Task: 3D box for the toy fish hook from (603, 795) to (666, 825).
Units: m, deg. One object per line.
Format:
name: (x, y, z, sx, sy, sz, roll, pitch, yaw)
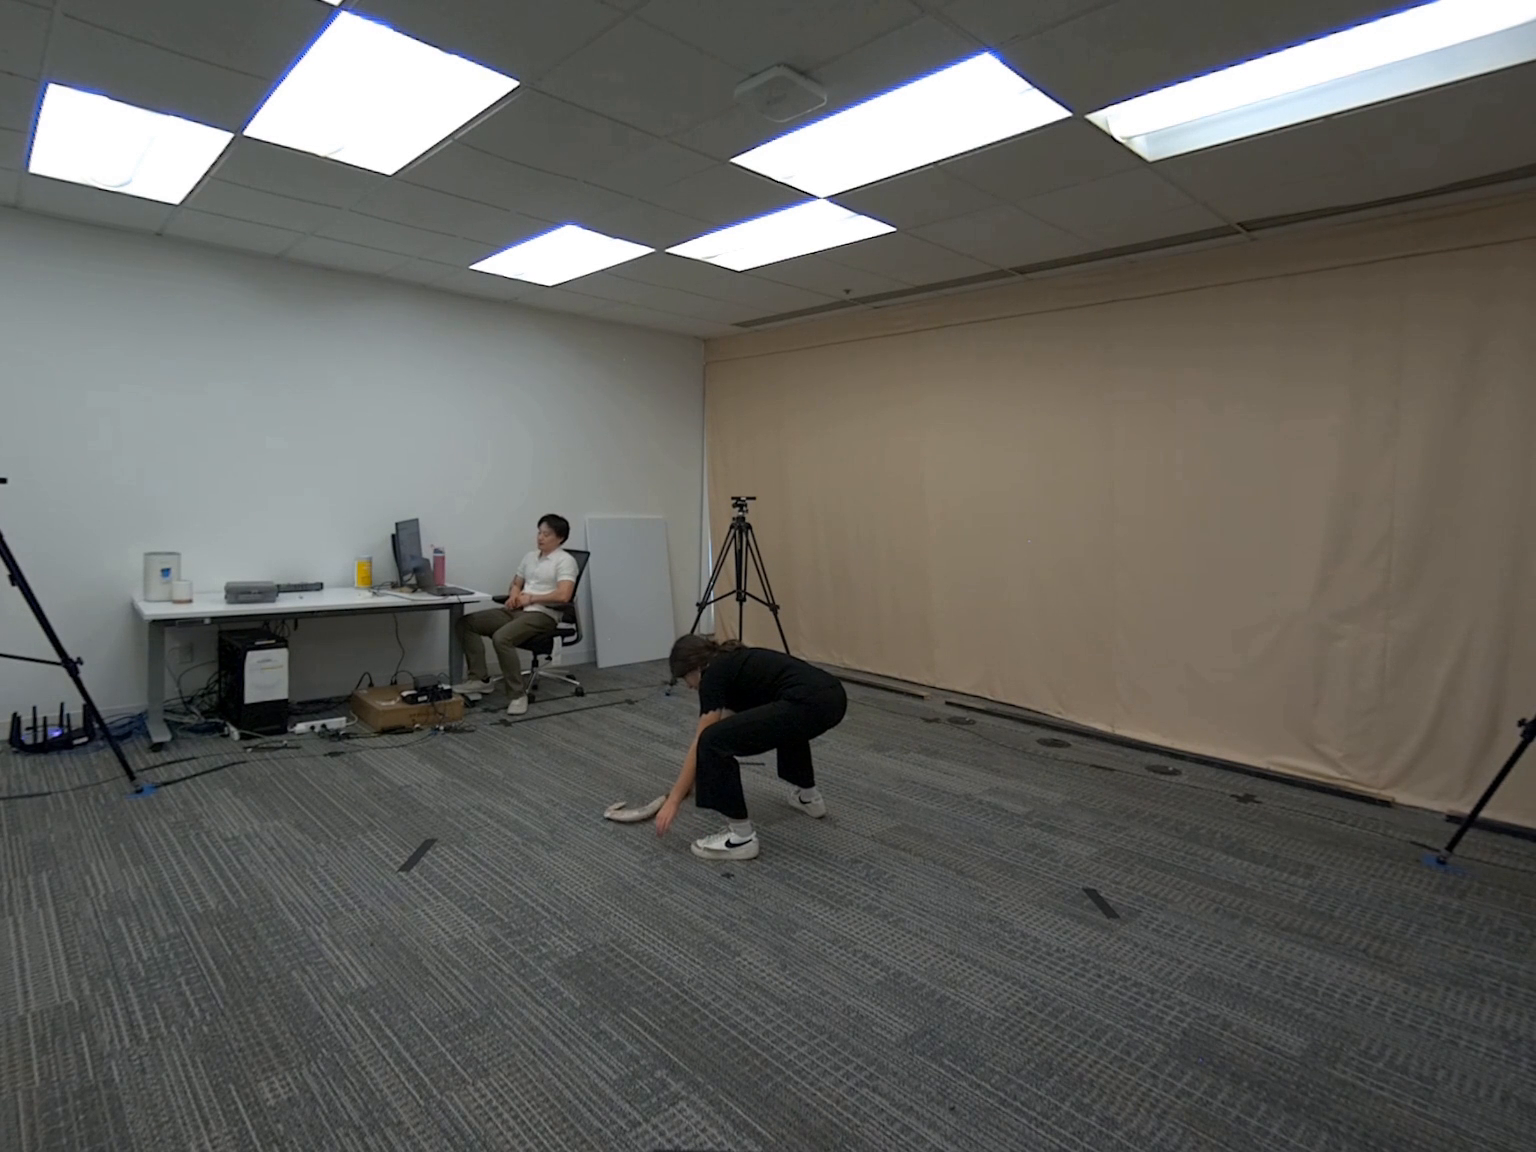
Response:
toy fish hook: (-0.544, 1.016, 3.792, 0.229, 0.048, 0.496, 4, 3, 28)
